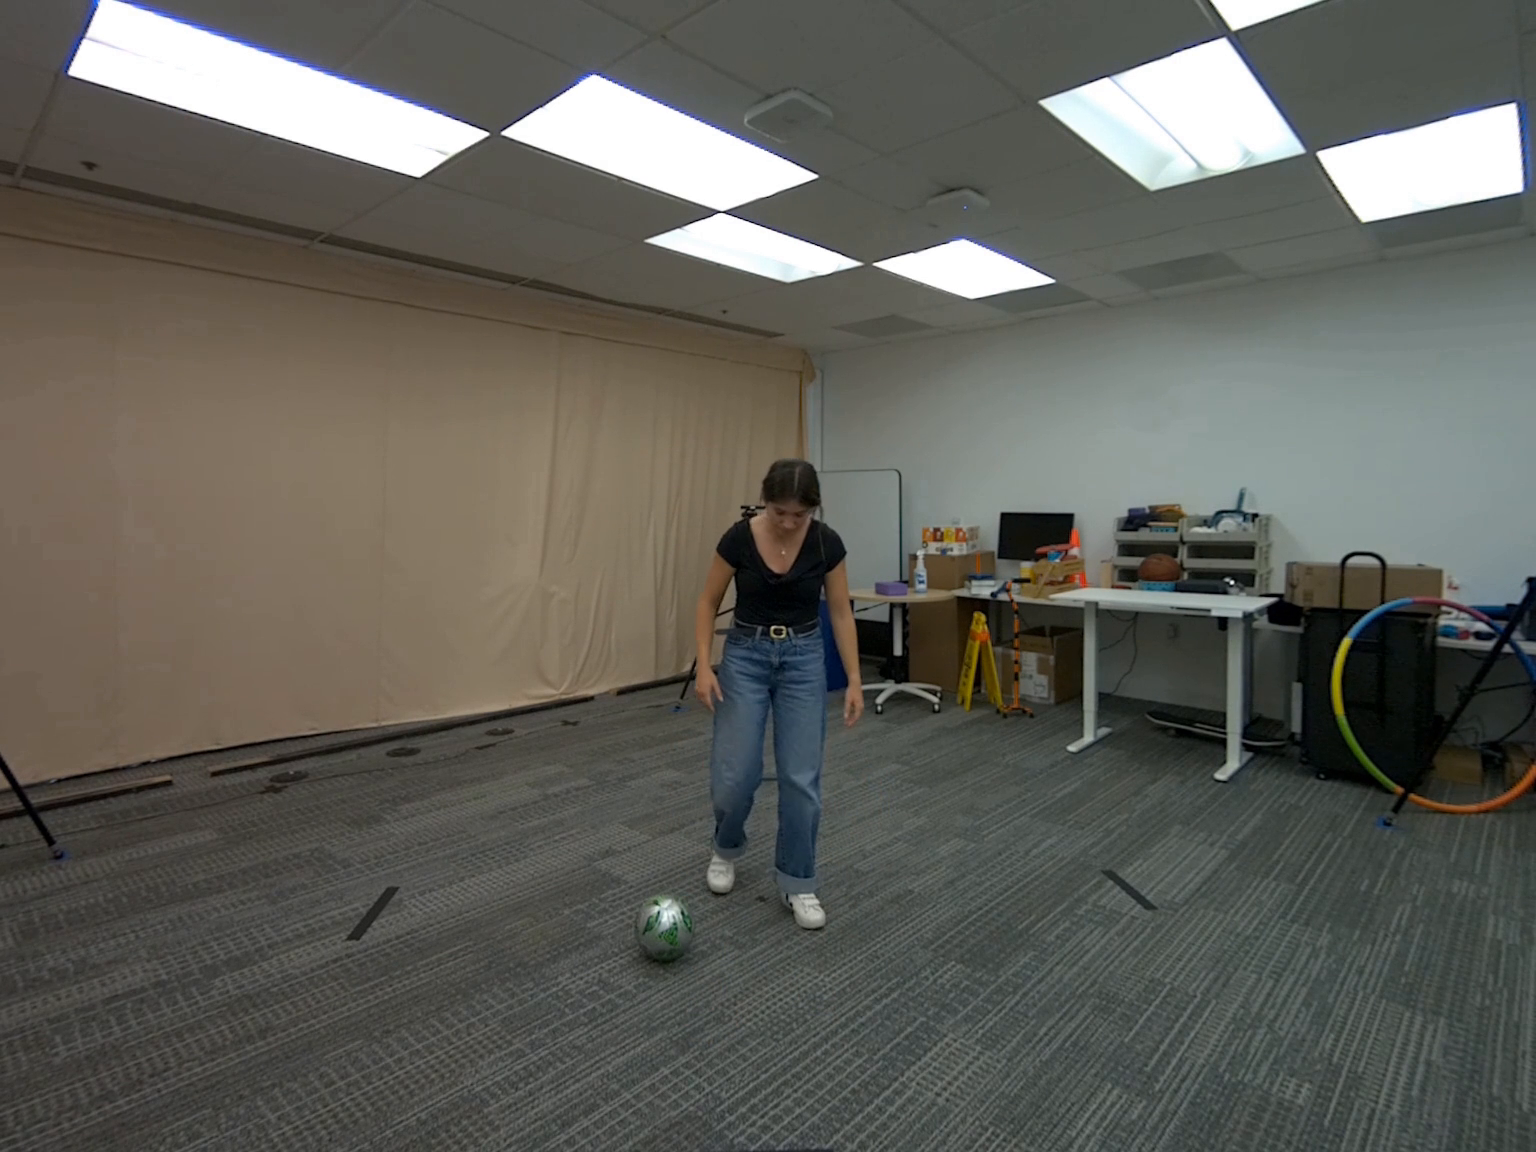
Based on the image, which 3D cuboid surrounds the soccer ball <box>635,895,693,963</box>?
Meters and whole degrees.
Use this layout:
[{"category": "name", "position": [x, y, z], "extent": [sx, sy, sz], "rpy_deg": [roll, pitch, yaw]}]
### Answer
[{"category": "soccer ball", "position": [-0.312, 1.084, 2.595], "extent": [0.187, 0.187, 0.188], "rpy_deg": [0, 4, -2]}]
